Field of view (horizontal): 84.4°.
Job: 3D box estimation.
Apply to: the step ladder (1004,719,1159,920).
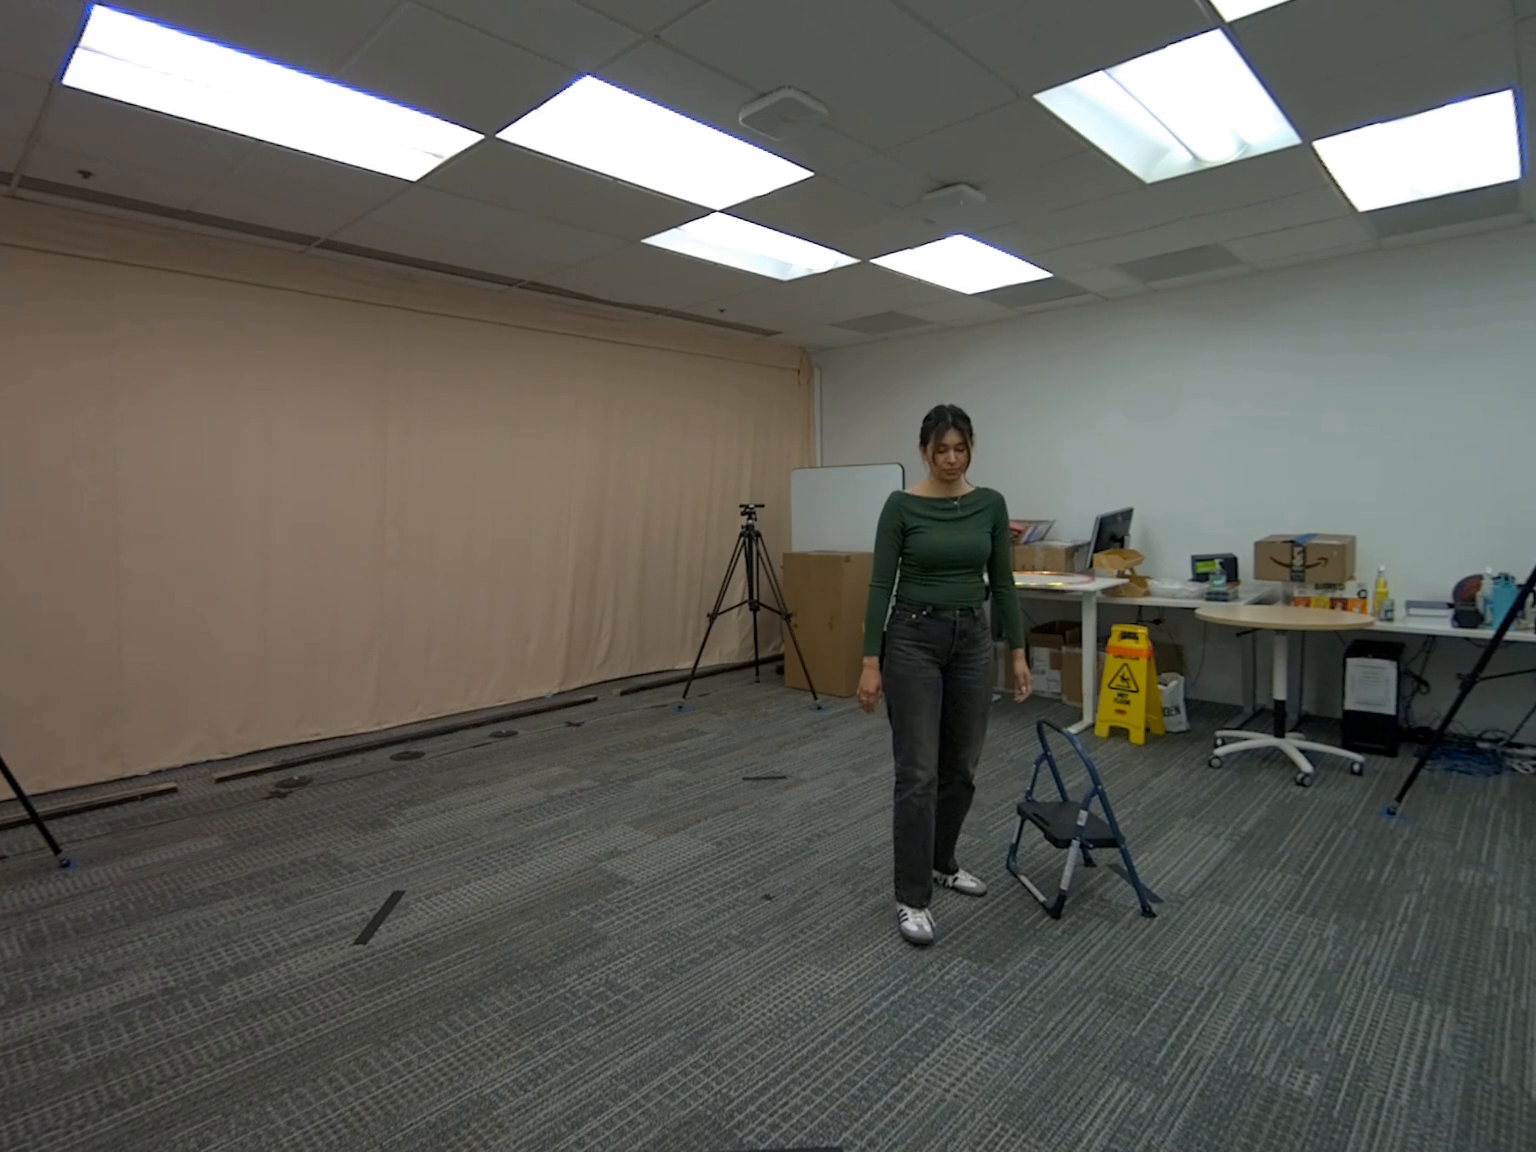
[{"bbox_3d":[1.092,0.820,2.983,0.347,0.605,0.434,-1,3,-6],"label":"step ladder"}]
